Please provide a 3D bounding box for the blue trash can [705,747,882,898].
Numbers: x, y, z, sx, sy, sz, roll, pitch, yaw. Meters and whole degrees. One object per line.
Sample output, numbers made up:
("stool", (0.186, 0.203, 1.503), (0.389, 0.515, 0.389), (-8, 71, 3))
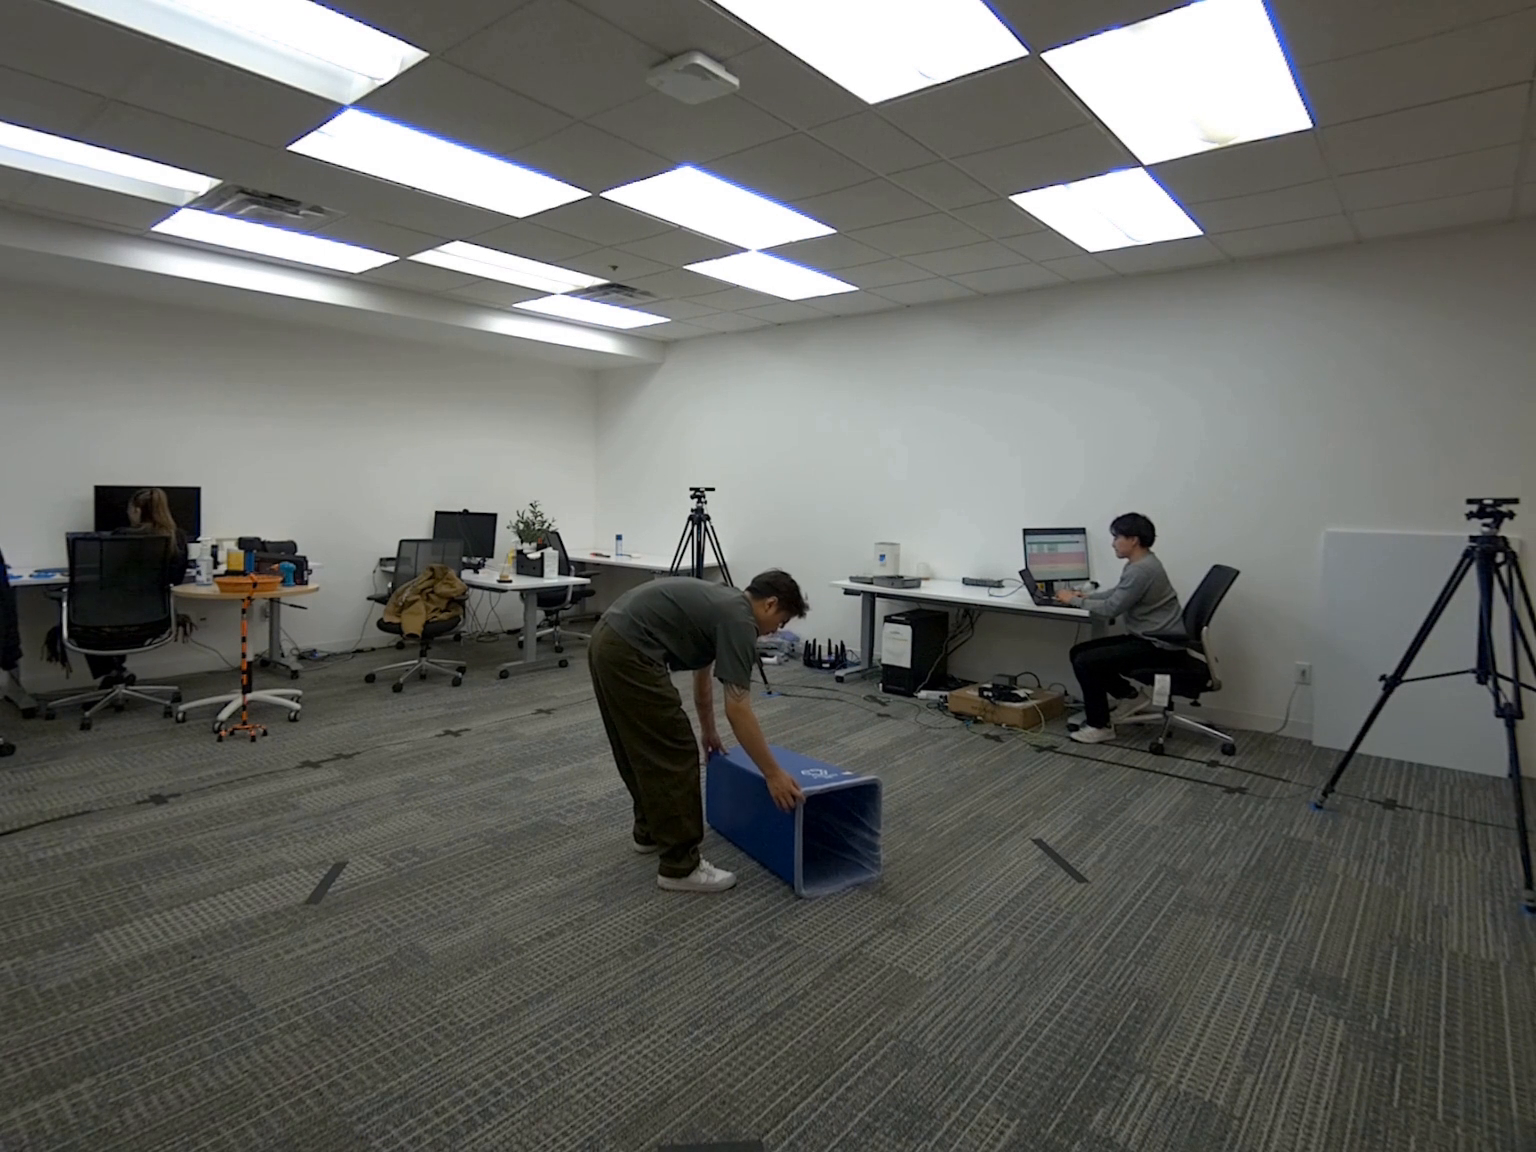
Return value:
("blue trash can", (0.060, 0.893, 3.275), (0.368, 0.373, 0.734), (-2, 3, -32))
